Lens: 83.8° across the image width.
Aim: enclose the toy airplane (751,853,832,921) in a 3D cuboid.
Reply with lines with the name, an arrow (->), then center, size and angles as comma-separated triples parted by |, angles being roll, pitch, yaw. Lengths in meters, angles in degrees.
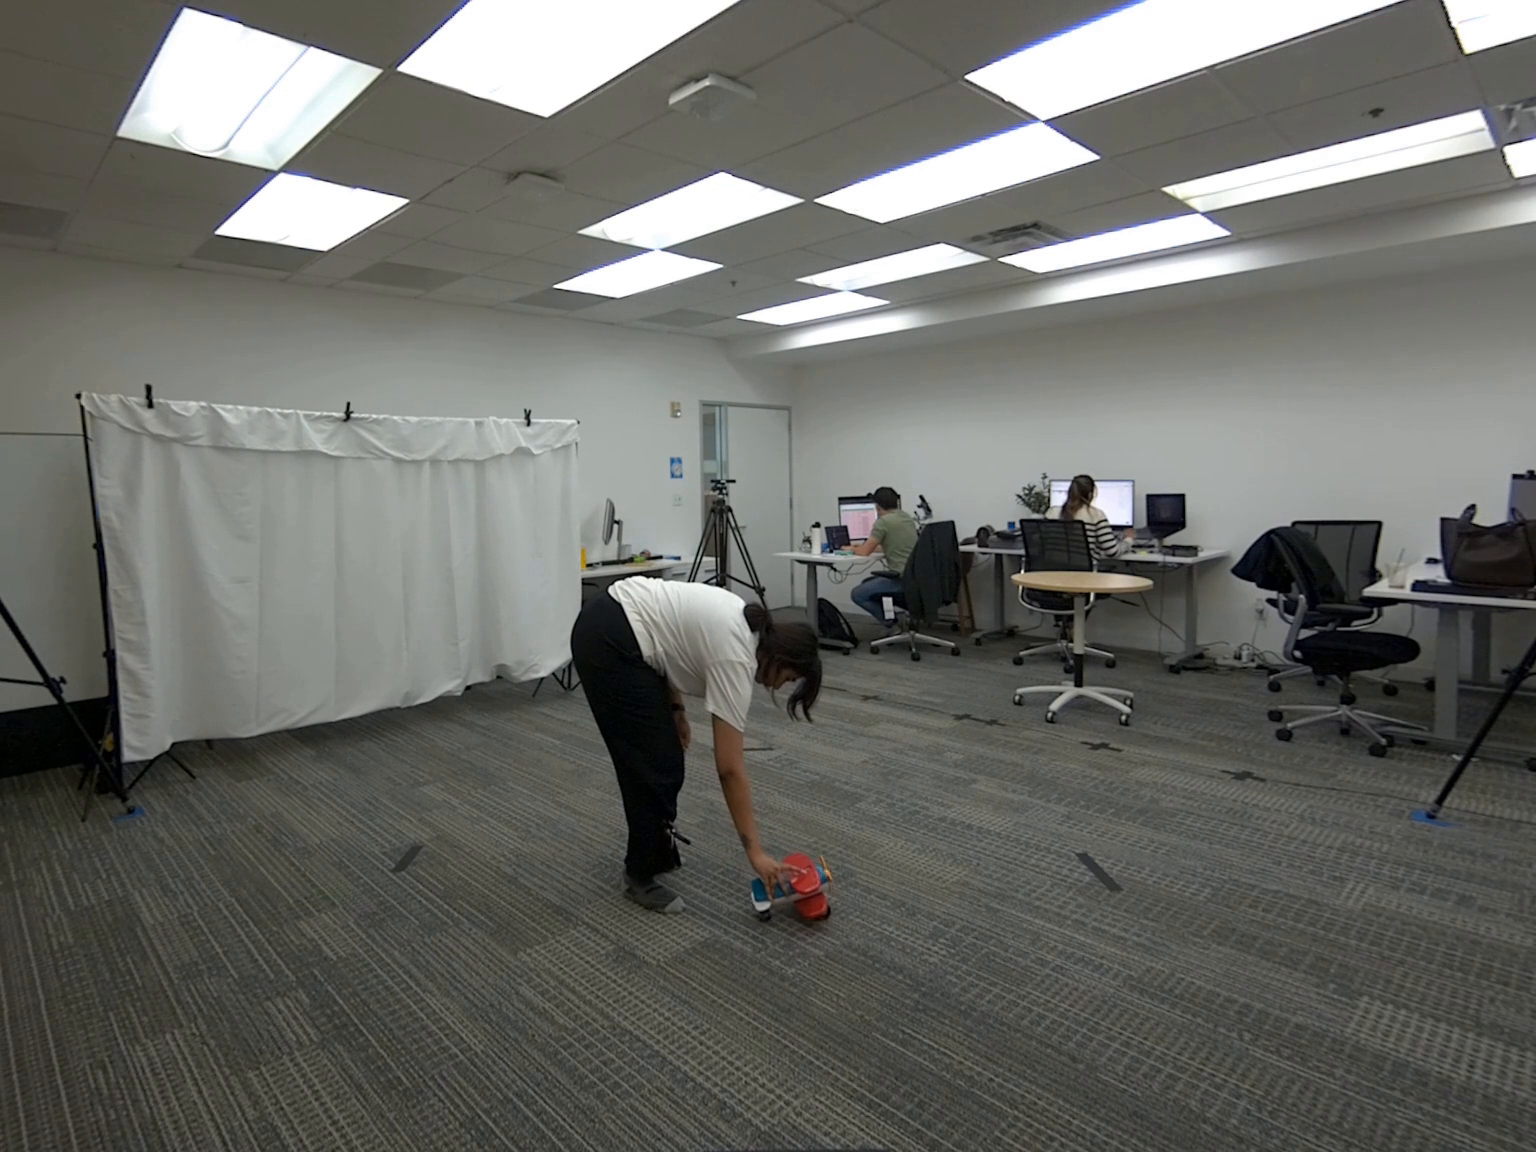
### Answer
toy airplane -> 0.084, 1.011, 2.722 | 0.252, 0.155, 0.259 | -5, 8, -37
